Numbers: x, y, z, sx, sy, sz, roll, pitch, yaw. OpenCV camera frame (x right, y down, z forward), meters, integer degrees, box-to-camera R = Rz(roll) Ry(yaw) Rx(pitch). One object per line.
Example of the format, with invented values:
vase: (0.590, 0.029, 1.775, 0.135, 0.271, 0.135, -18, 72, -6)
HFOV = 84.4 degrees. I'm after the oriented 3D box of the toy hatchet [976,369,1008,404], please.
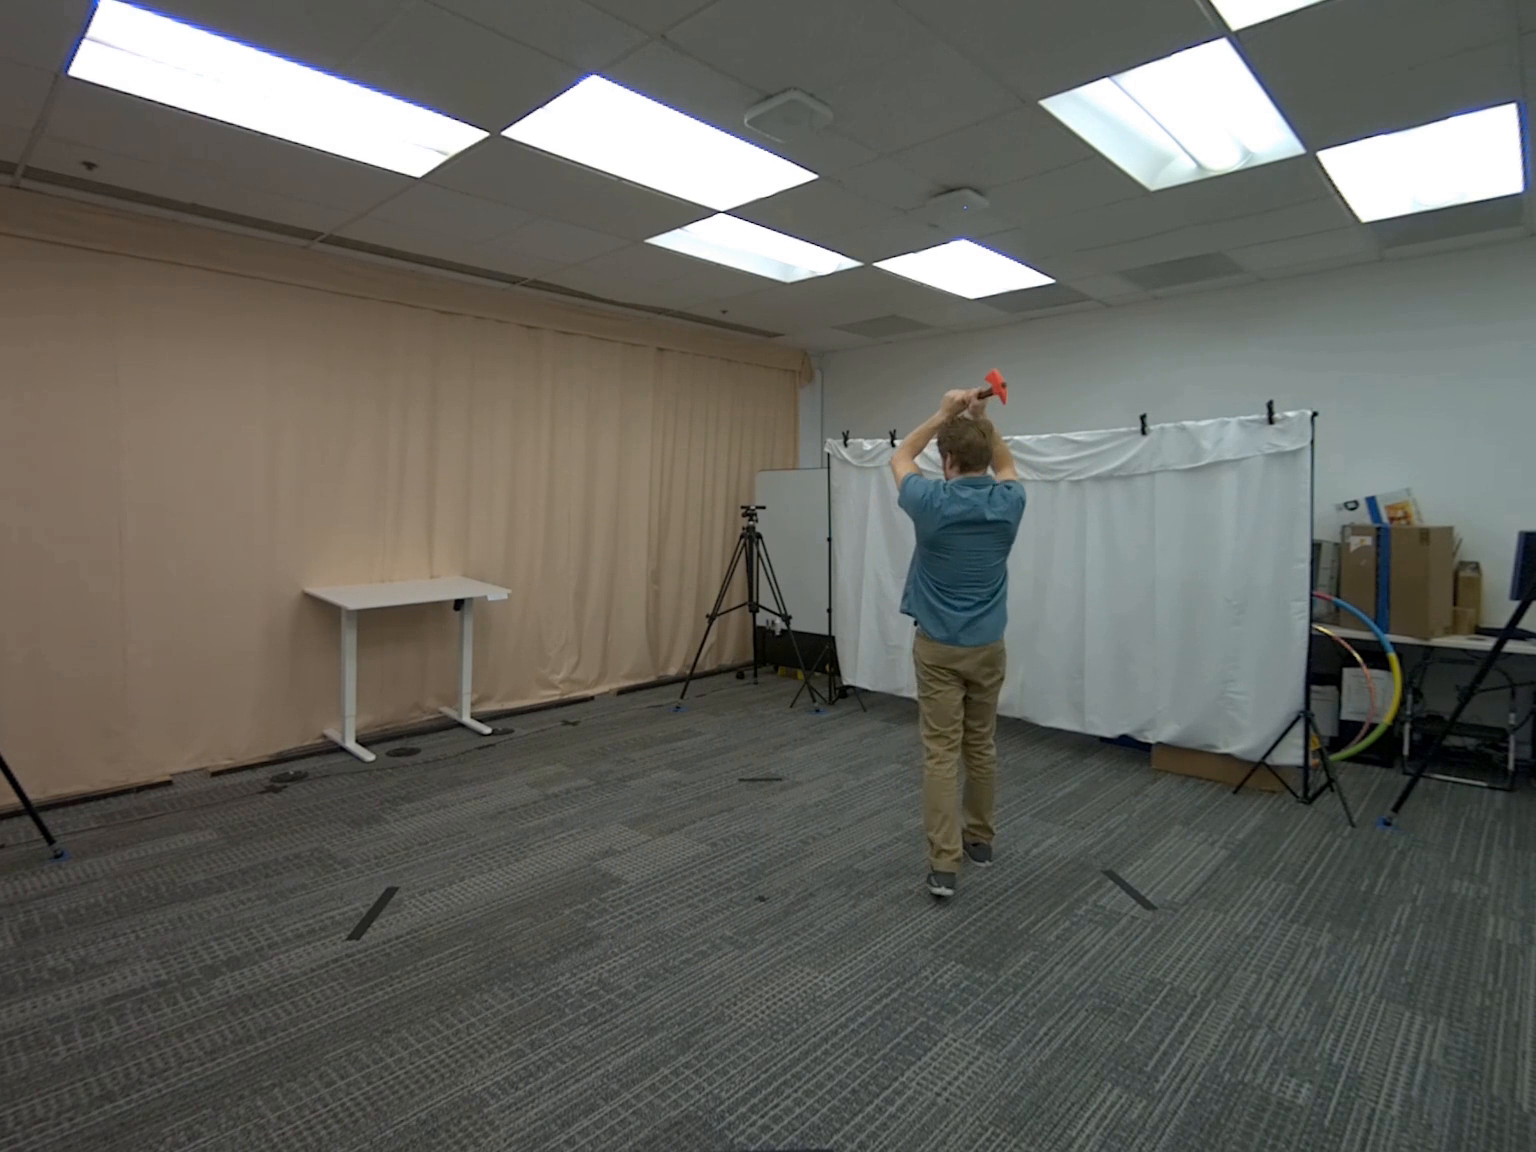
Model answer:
toy hatchet: (0.789, -0.703, 3.164, 0.029, 0.129, 0.278, -13, 16, -24)
